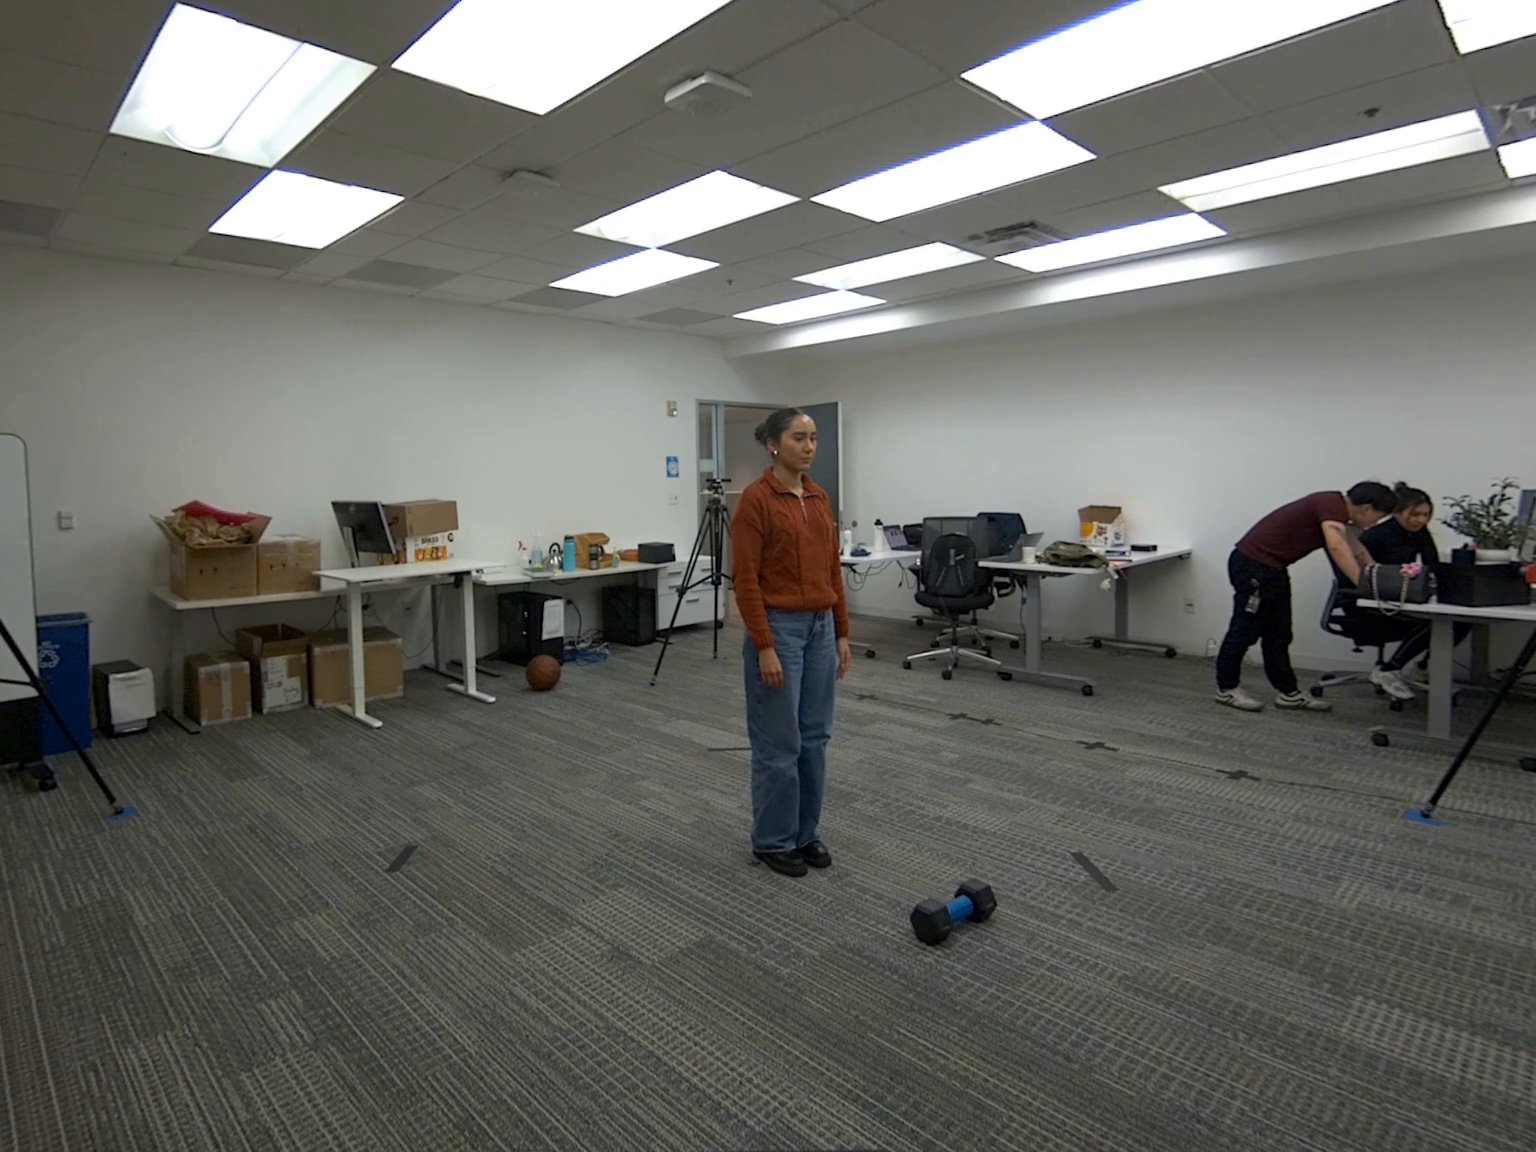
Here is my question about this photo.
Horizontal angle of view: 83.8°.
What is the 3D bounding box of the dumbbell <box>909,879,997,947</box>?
[{"bbox_3d":[0.582,1.035,2.631,0.286,0.121,0.113,-6,35,-37],"label":"dumbbell"}]
